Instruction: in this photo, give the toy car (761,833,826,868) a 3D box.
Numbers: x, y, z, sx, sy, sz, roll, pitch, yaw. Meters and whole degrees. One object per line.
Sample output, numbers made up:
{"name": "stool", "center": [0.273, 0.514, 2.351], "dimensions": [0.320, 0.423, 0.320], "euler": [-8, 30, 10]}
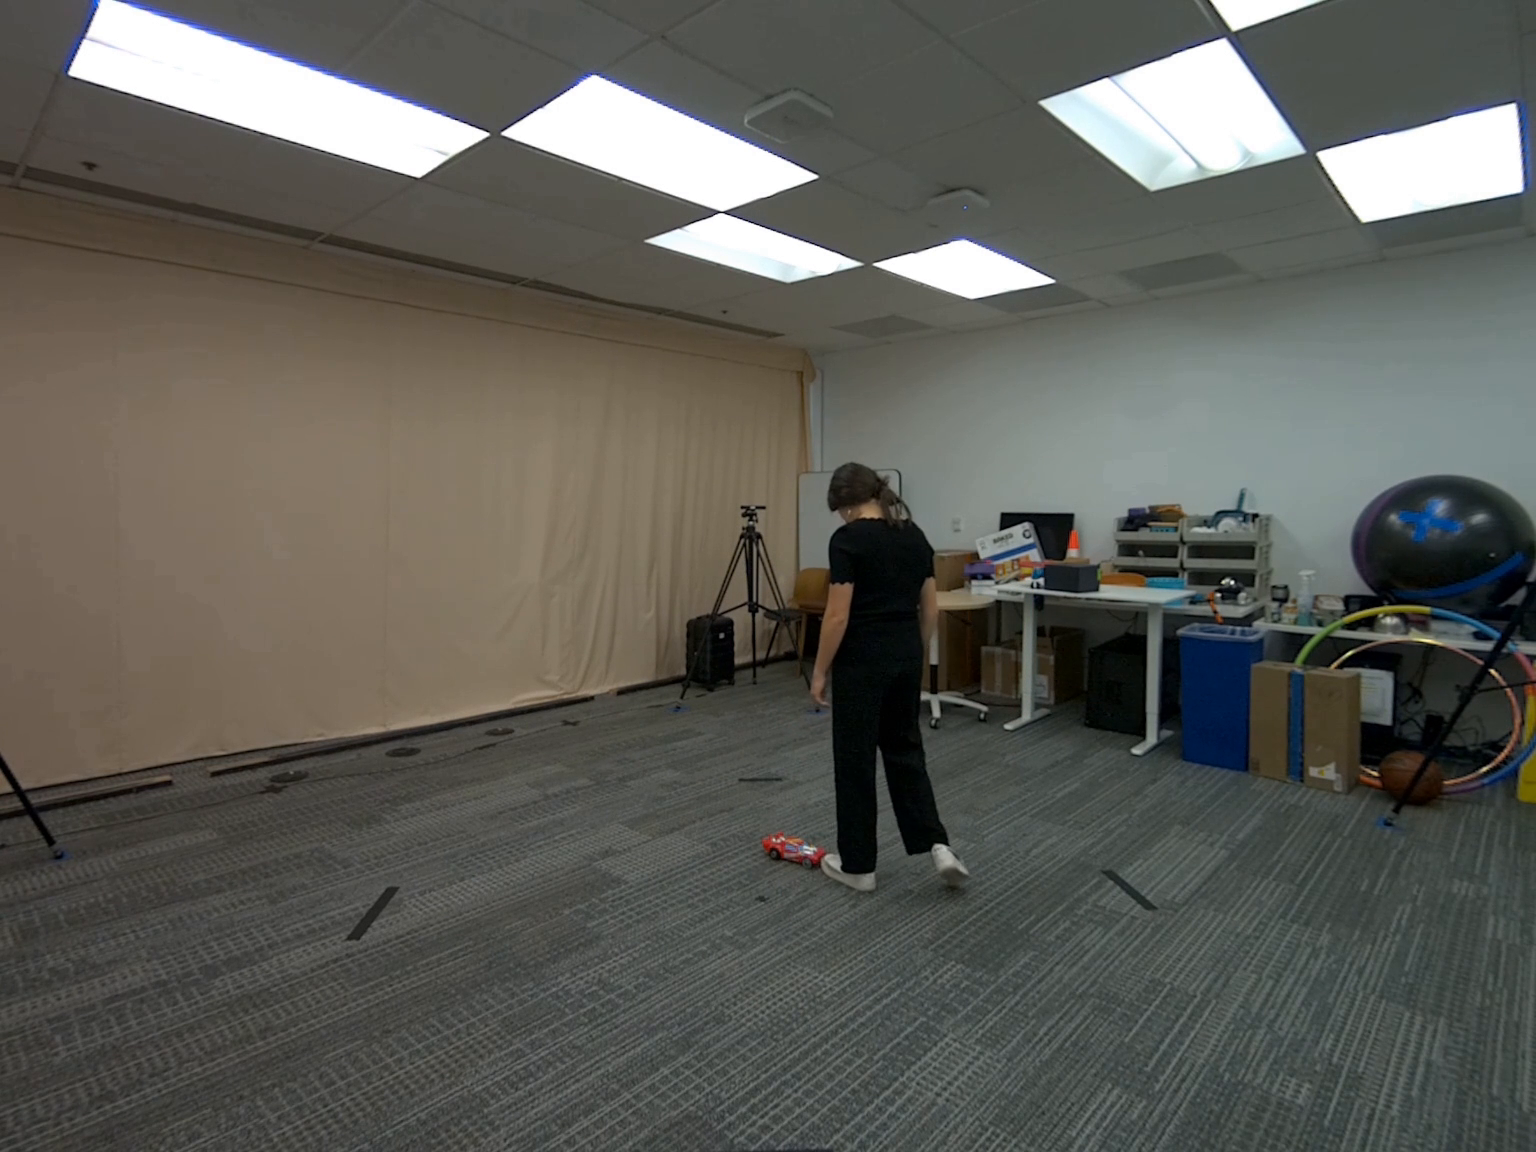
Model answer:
{"name": "toy car", "center": [0.105, 1.084, 3.321], "dimensions": [0.263, 0.083, 0.127], "euler": [15, 12, 32]}
